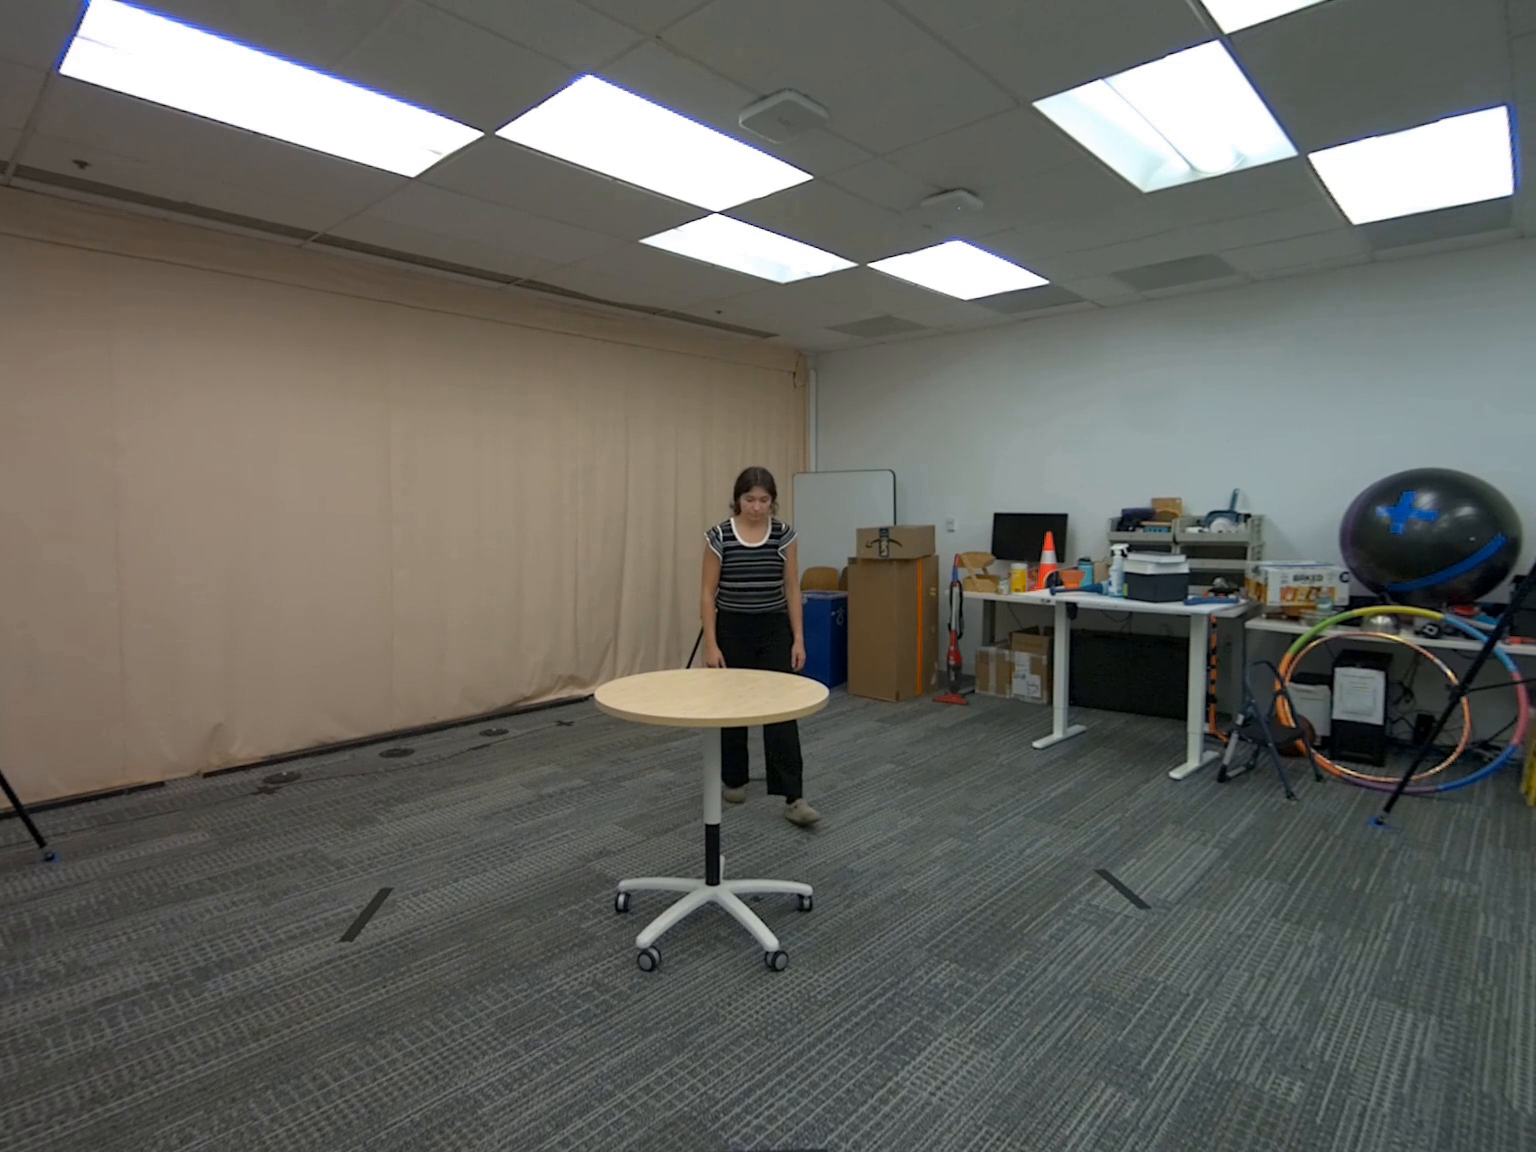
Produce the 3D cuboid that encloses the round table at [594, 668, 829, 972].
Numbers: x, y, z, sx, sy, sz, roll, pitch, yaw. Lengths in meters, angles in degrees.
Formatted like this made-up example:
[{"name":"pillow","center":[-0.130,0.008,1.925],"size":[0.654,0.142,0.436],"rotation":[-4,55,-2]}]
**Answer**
[{"name":"round table","center":[-0.166,0.764,2.785],"size":[0.784,0.785,0.787],"rotation":[0,3,-2]}]
